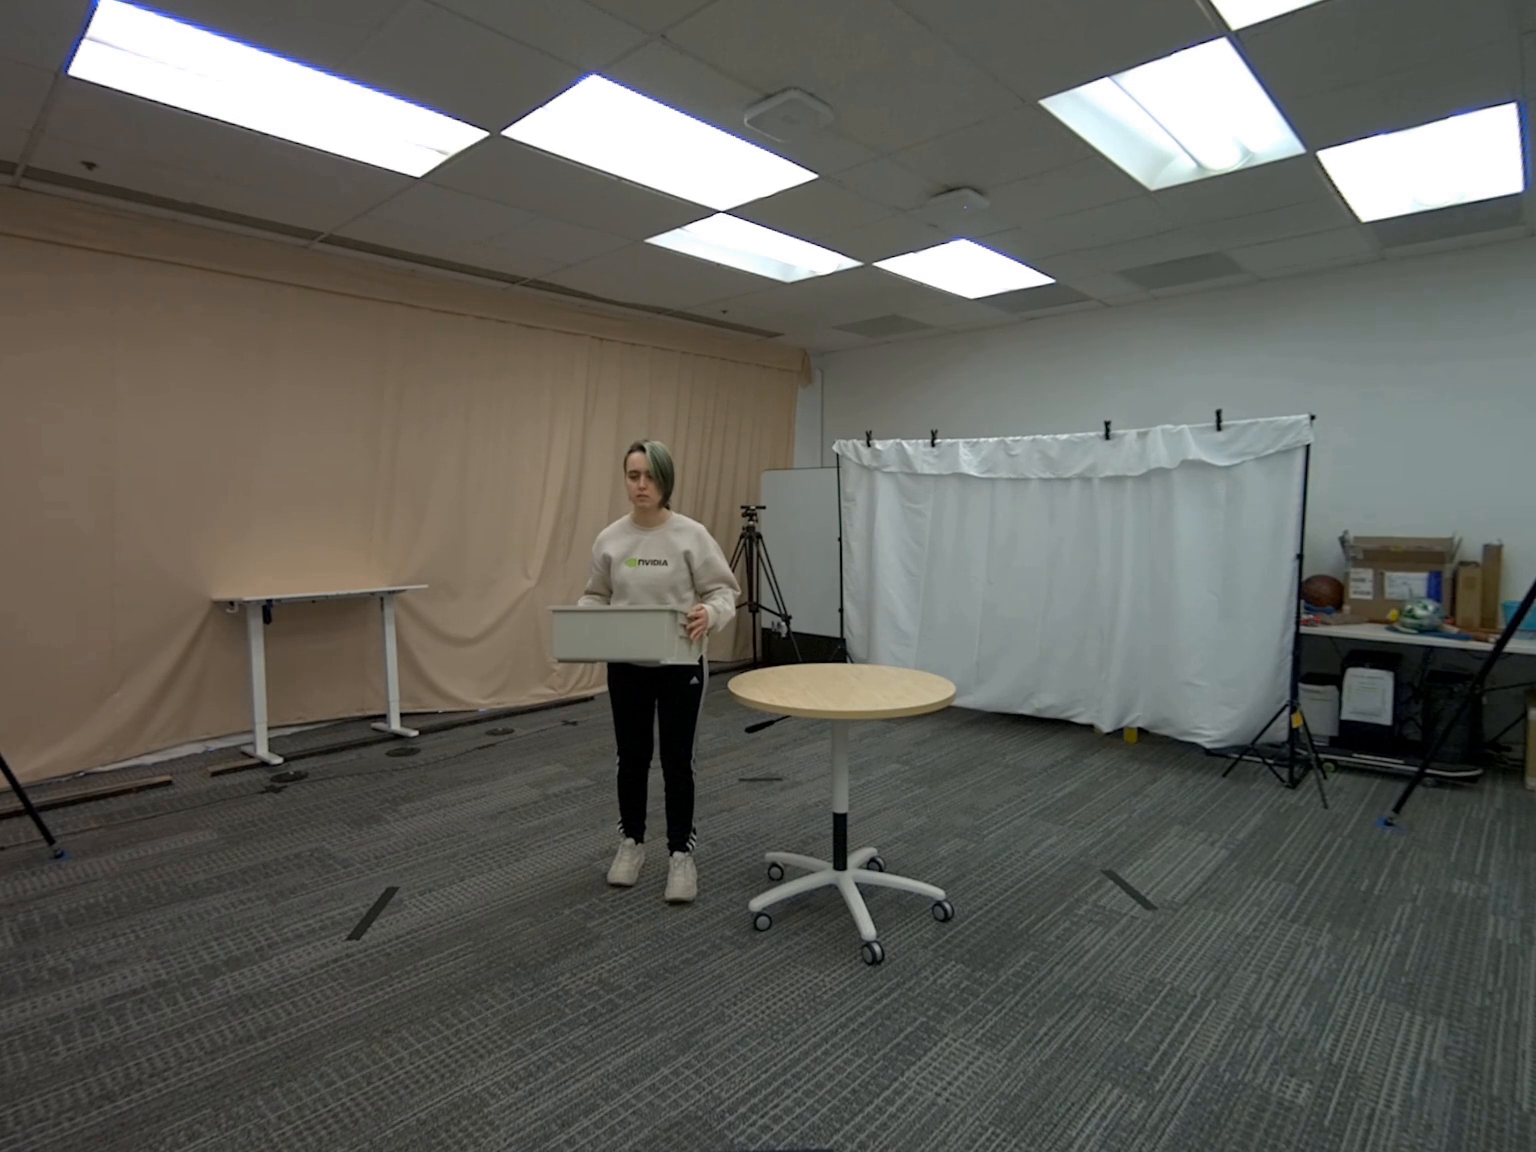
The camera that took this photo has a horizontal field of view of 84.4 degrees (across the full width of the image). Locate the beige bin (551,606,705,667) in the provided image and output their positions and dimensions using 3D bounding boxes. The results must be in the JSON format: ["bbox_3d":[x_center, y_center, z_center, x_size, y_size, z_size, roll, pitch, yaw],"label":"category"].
[{"bbox_3d":[-0.462,0.199,2.808,0.429,0.189,0.370,-1,-4,14],"label":"beige bin"}]
